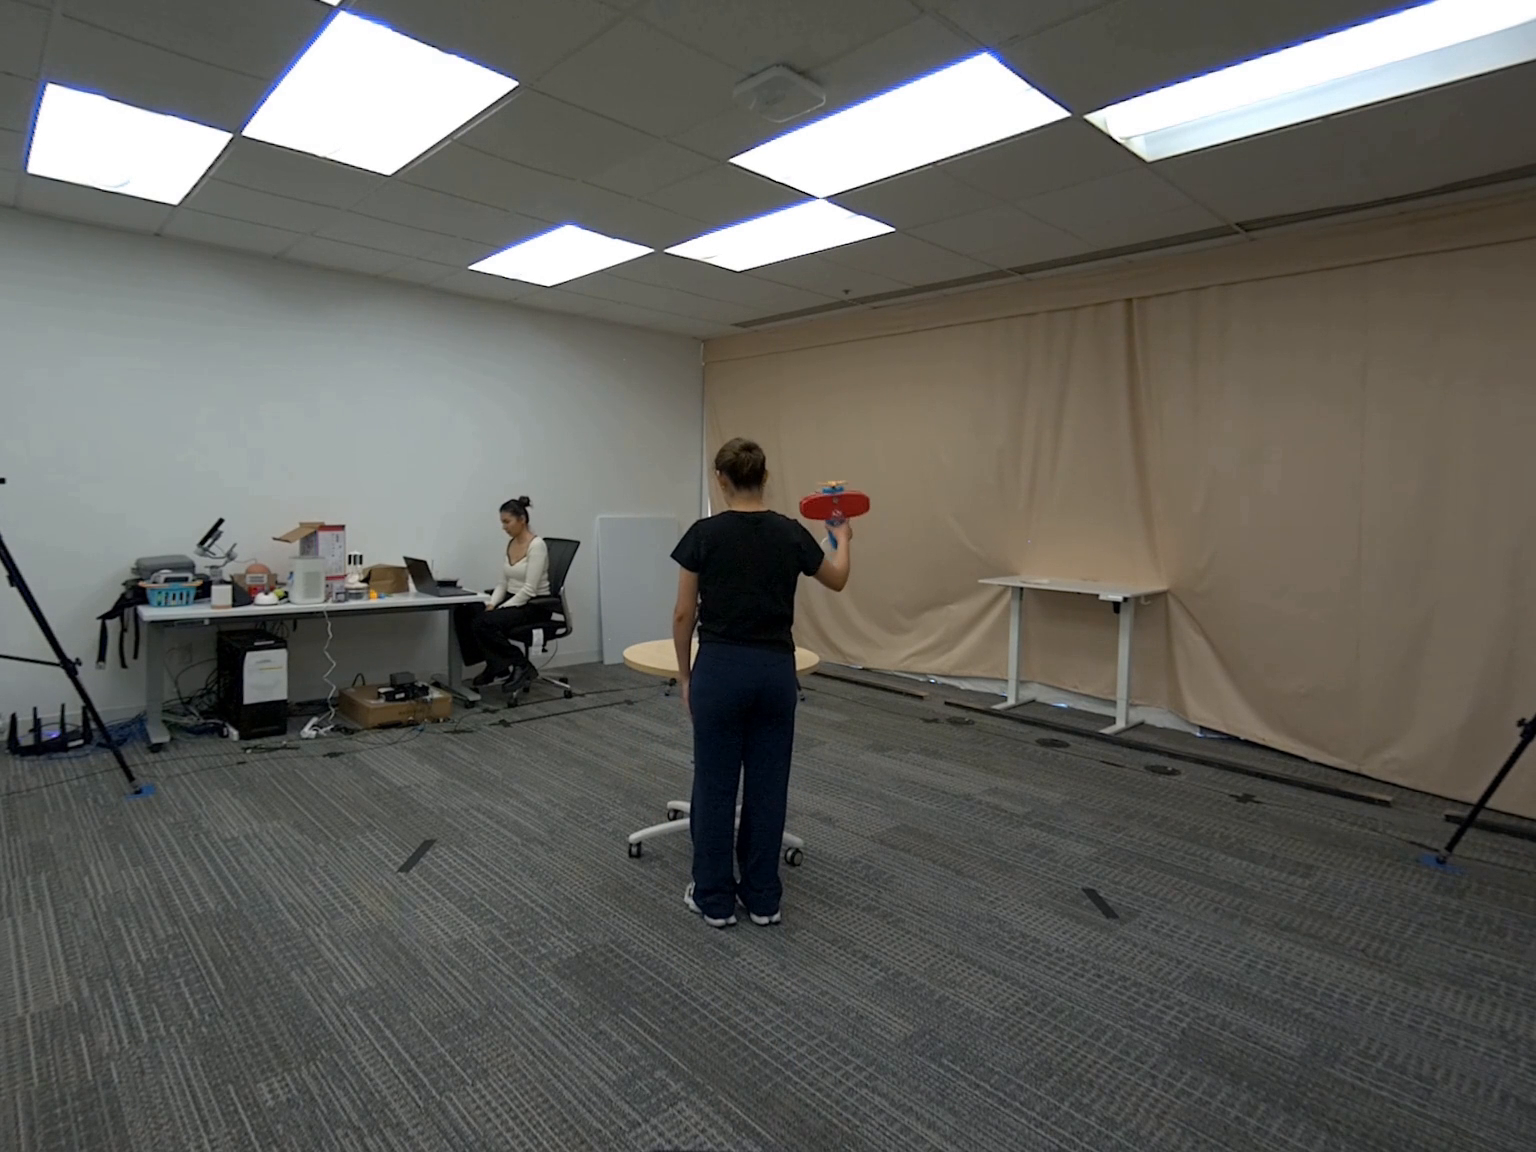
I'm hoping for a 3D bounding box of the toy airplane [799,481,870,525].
[{"bbox_3d":[0.256,-0.223,3.182,0.251,0.261,0.155,-32,-5,-1],"label":"toy airplane"}]
